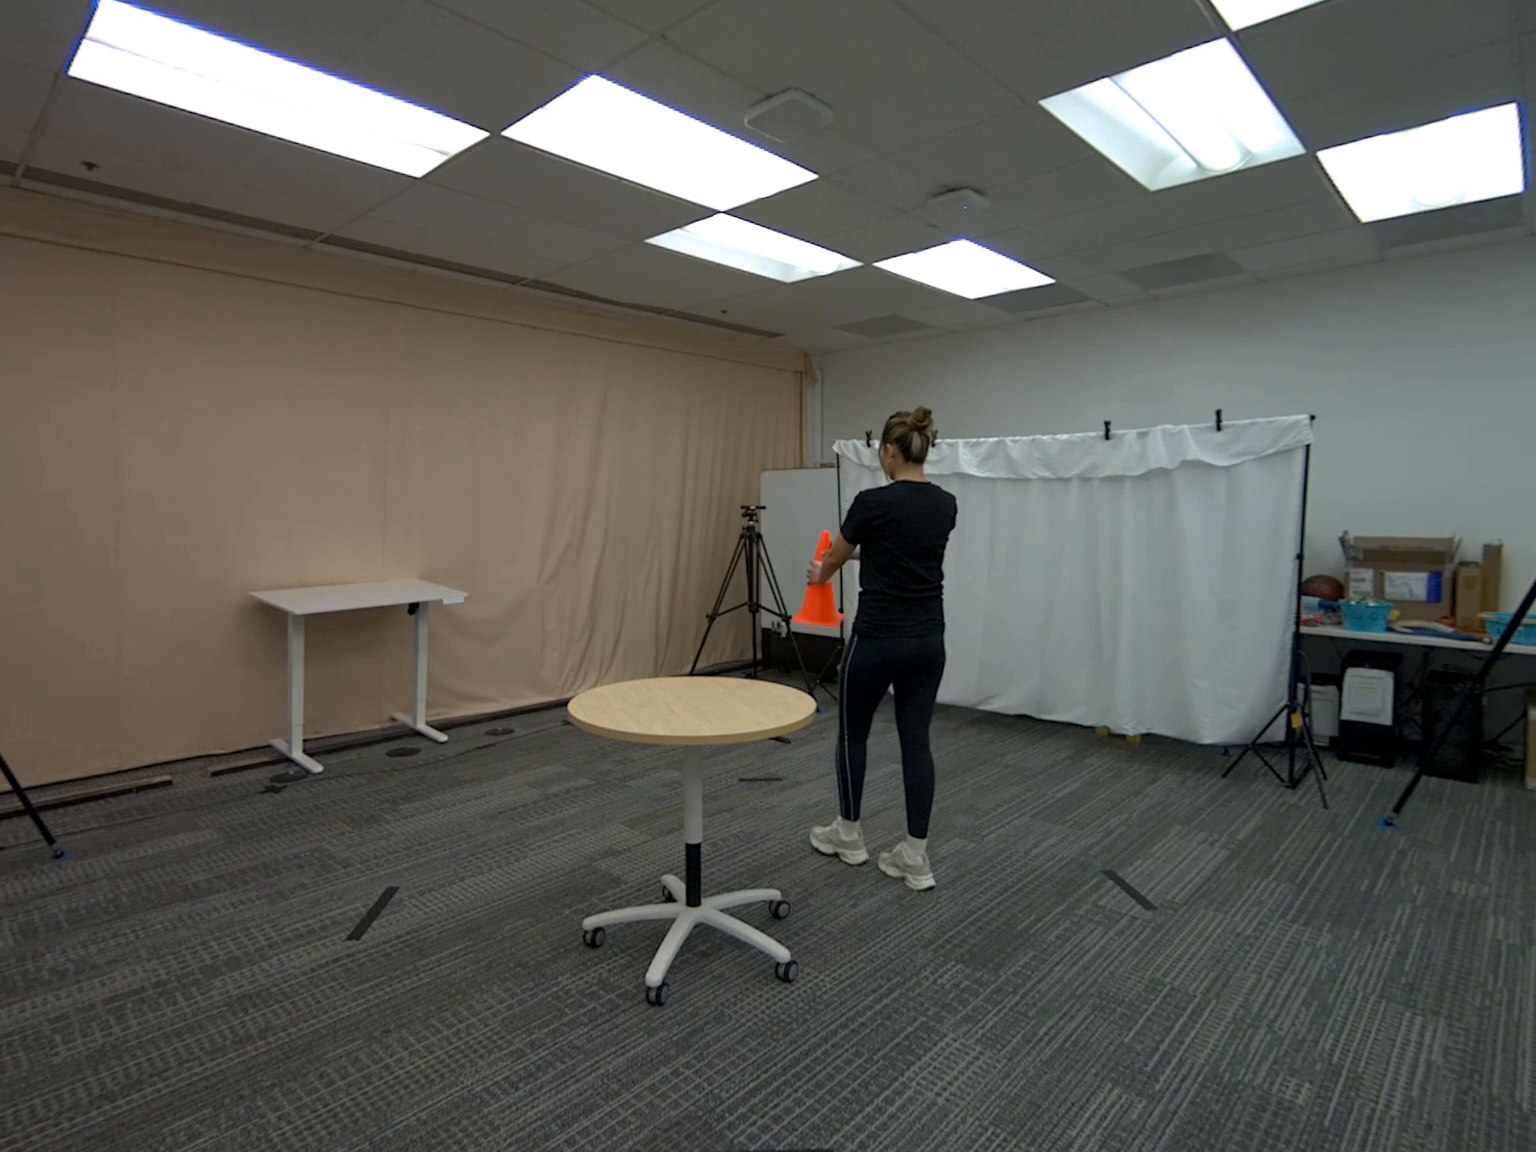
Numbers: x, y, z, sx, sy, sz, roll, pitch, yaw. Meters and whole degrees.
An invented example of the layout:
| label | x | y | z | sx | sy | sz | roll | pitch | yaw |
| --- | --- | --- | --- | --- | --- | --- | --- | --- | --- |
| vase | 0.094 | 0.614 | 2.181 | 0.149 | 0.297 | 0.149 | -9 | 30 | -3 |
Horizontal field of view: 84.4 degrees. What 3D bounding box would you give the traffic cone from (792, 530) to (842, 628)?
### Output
| label | x | y | z | sx | sy | sz | roll | pitch | yaw |
| --- | --- | --- | --- | --- | --- | --- | --- | --- | --- |
| traffic cone | 0.226 | -0.001 | 3.601 | 0.211 | 0.381 | 0.199 | 7 | 12 | 26 |
